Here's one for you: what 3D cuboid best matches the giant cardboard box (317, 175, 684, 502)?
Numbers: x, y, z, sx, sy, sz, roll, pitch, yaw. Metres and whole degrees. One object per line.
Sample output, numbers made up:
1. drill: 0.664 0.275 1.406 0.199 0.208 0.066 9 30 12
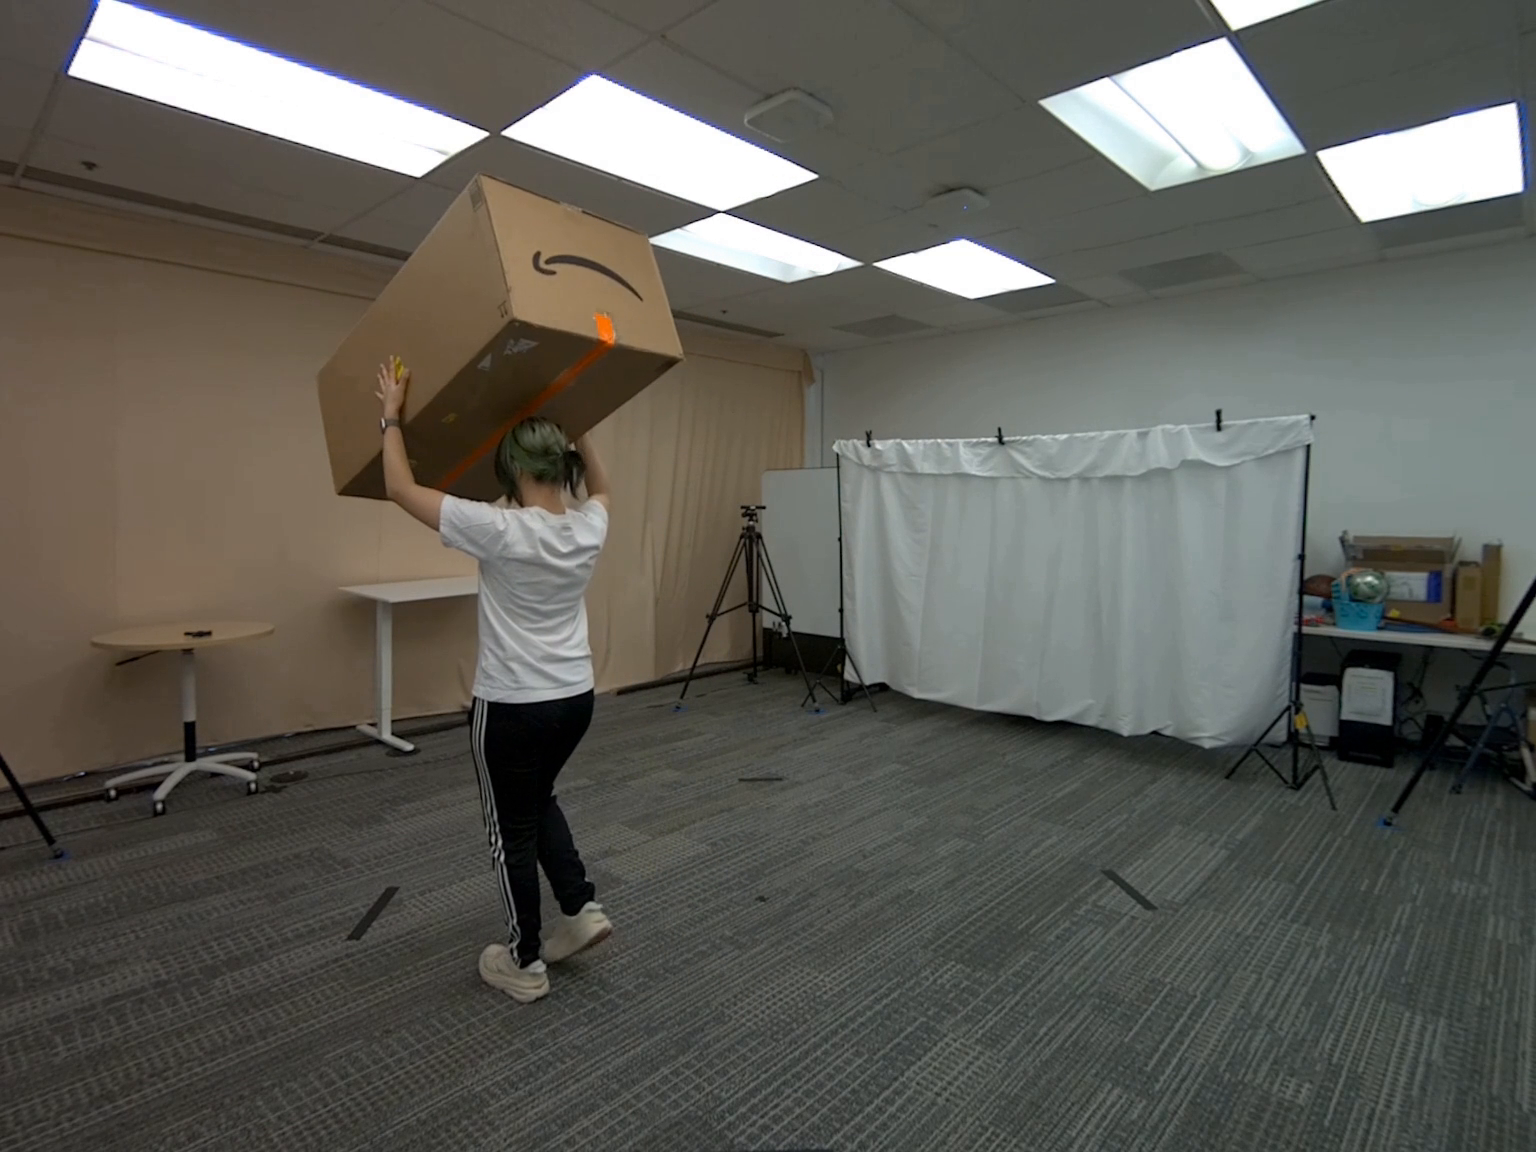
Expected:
1. giant cardboard box: -0.837 -0.619 2.544 1.047 0.452 0.566 -27 -15 37
